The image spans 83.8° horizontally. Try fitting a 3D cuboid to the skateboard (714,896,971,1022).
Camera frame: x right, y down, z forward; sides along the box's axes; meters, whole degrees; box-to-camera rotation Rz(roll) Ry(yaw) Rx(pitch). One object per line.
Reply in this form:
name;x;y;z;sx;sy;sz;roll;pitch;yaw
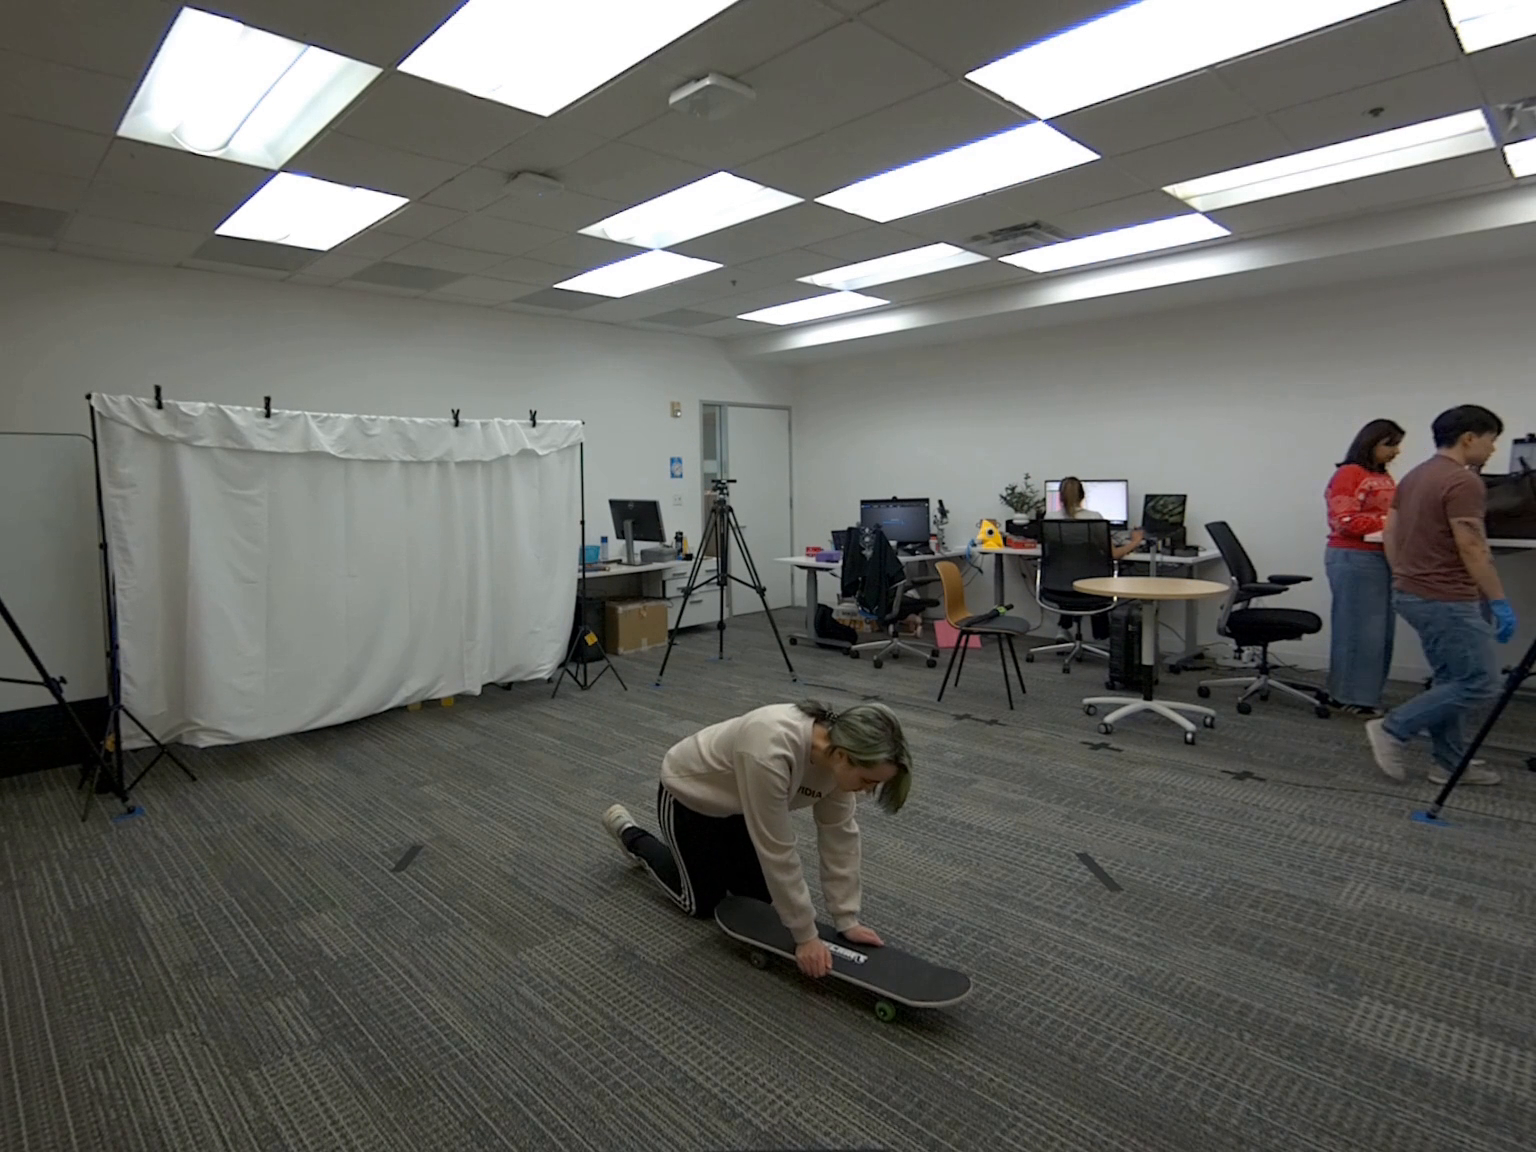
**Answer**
skateboard;0.181;1.074;2.383;0.808;0.110;0.189;3;7;36
